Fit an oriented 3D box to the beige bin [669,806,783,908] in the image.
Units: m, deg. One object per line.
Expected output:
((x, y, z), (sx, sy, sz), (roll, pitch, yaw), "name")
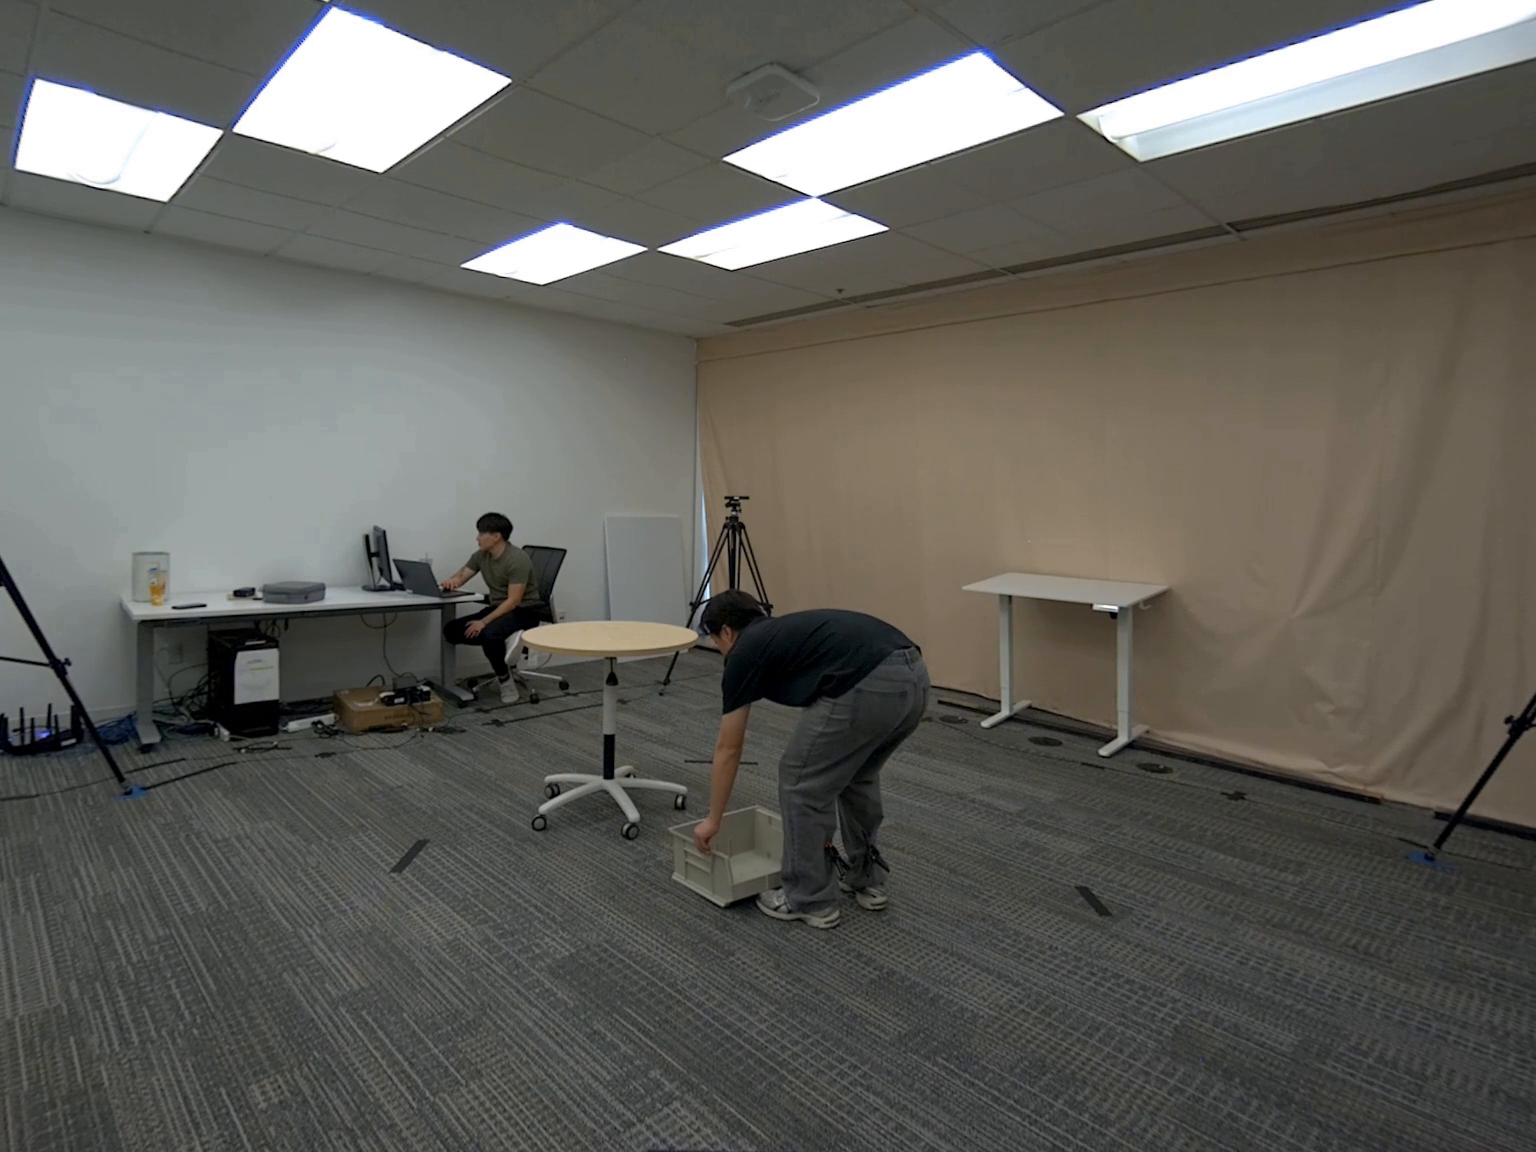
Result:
((-0.086, 1.008, 3.057), (0.413, 0.189, 0.386), (-2, 2, -40), "beige bin")
